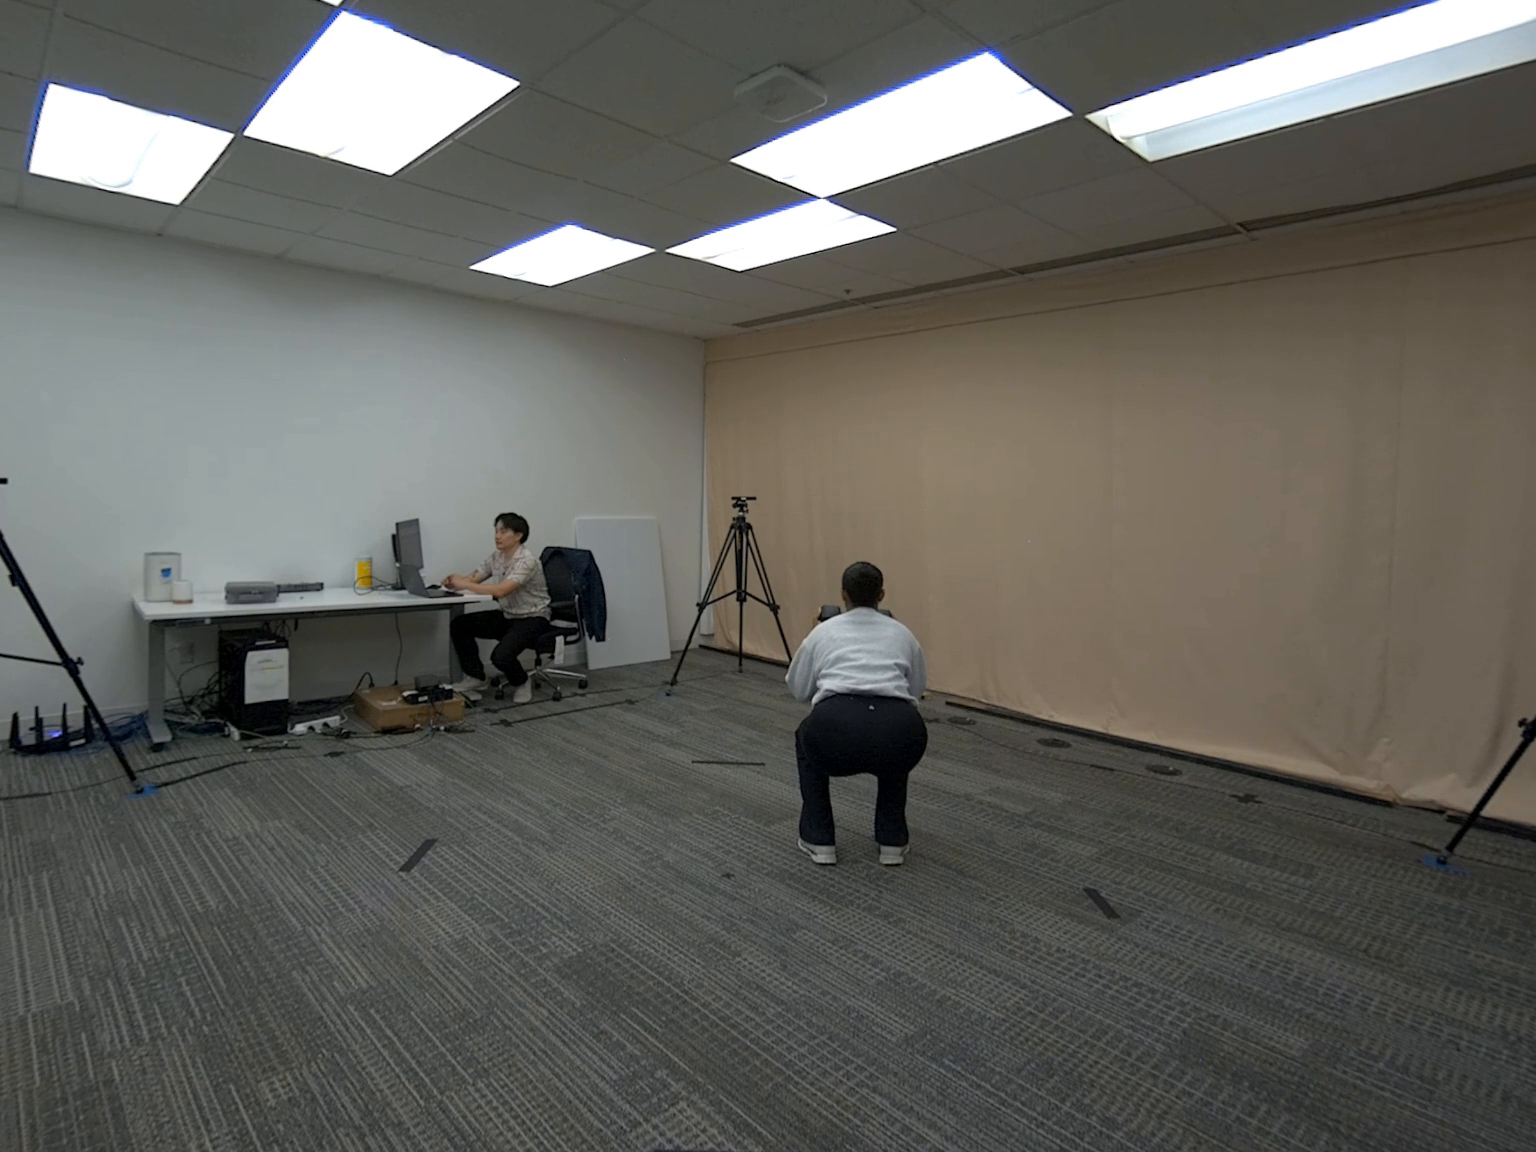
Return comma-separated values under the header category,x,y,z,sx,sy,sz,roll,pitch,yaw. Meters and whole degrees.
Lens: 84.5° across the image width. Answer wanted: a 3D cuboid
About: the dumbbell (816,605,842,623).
category,x,y,z,sx,sy,sz,roll,pitch,yaw
dumbbell,0.366,0.171,3.529,0.294,0.121,0.110,6,28,1
